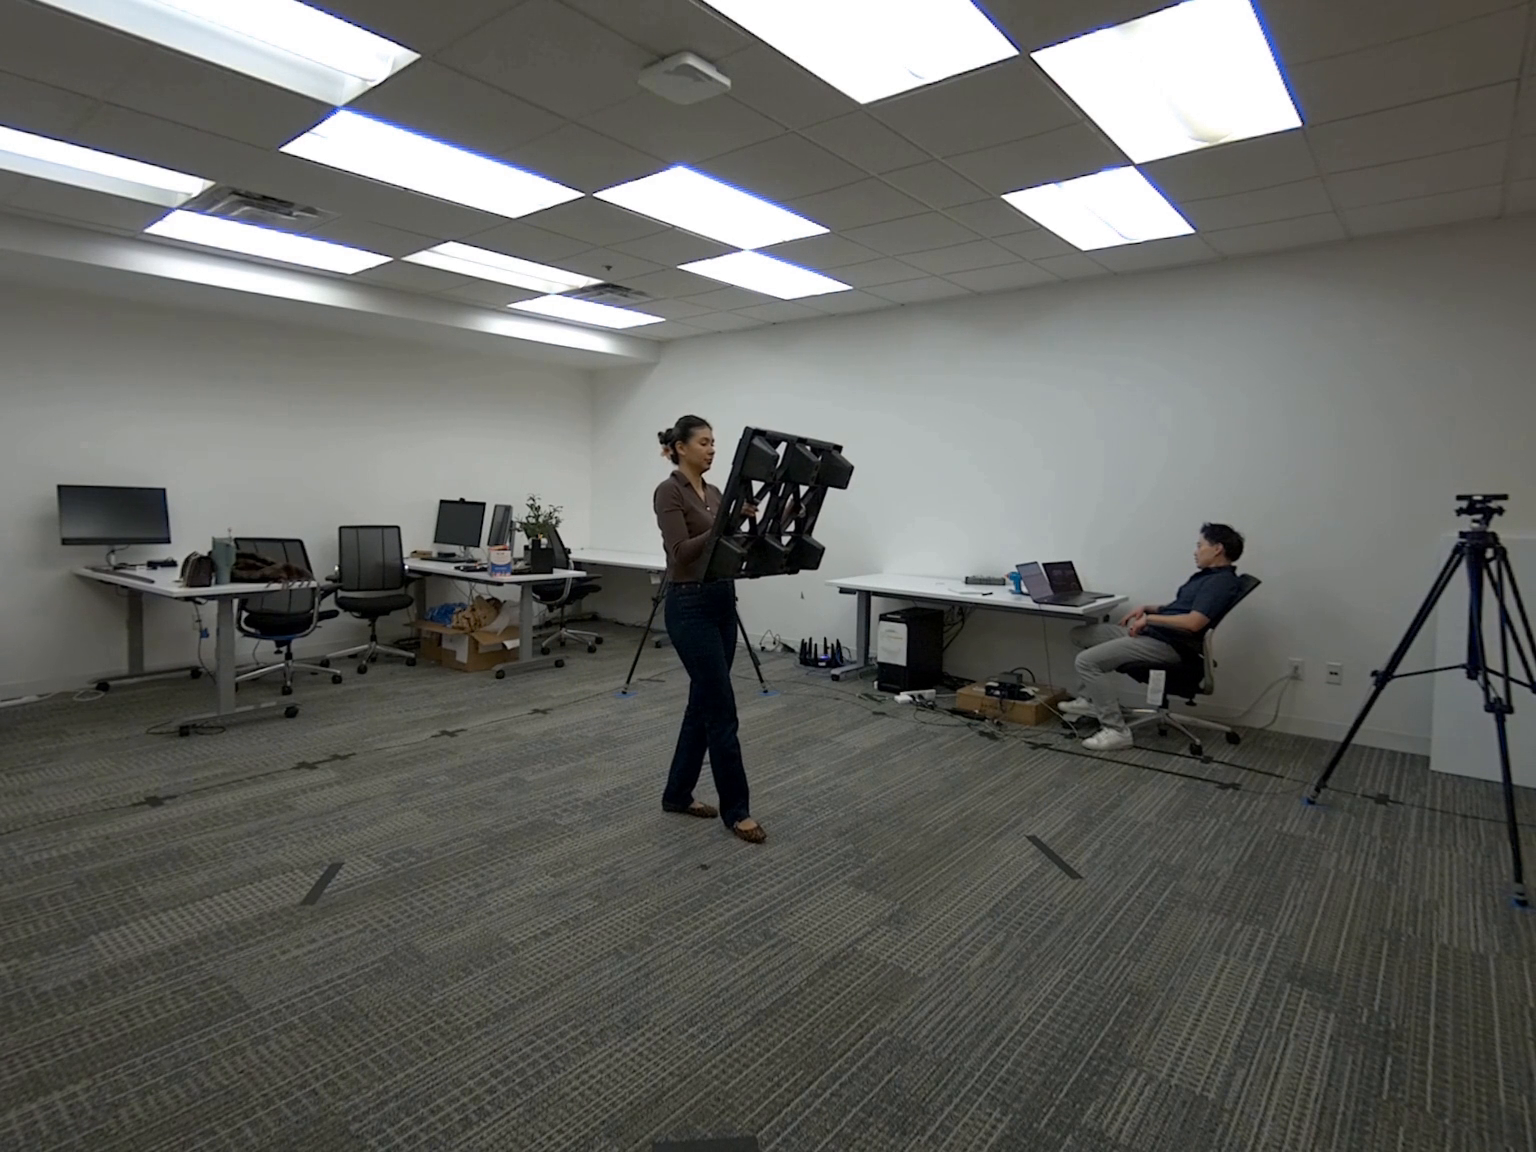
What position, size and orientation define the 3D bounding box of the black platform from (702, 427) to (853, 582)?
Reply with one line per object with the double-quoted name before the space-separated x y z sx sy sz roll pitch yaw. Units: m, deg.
"black platform" 0.053 -0.262 3.362 0.148 0.601 0.784 25 14 26
